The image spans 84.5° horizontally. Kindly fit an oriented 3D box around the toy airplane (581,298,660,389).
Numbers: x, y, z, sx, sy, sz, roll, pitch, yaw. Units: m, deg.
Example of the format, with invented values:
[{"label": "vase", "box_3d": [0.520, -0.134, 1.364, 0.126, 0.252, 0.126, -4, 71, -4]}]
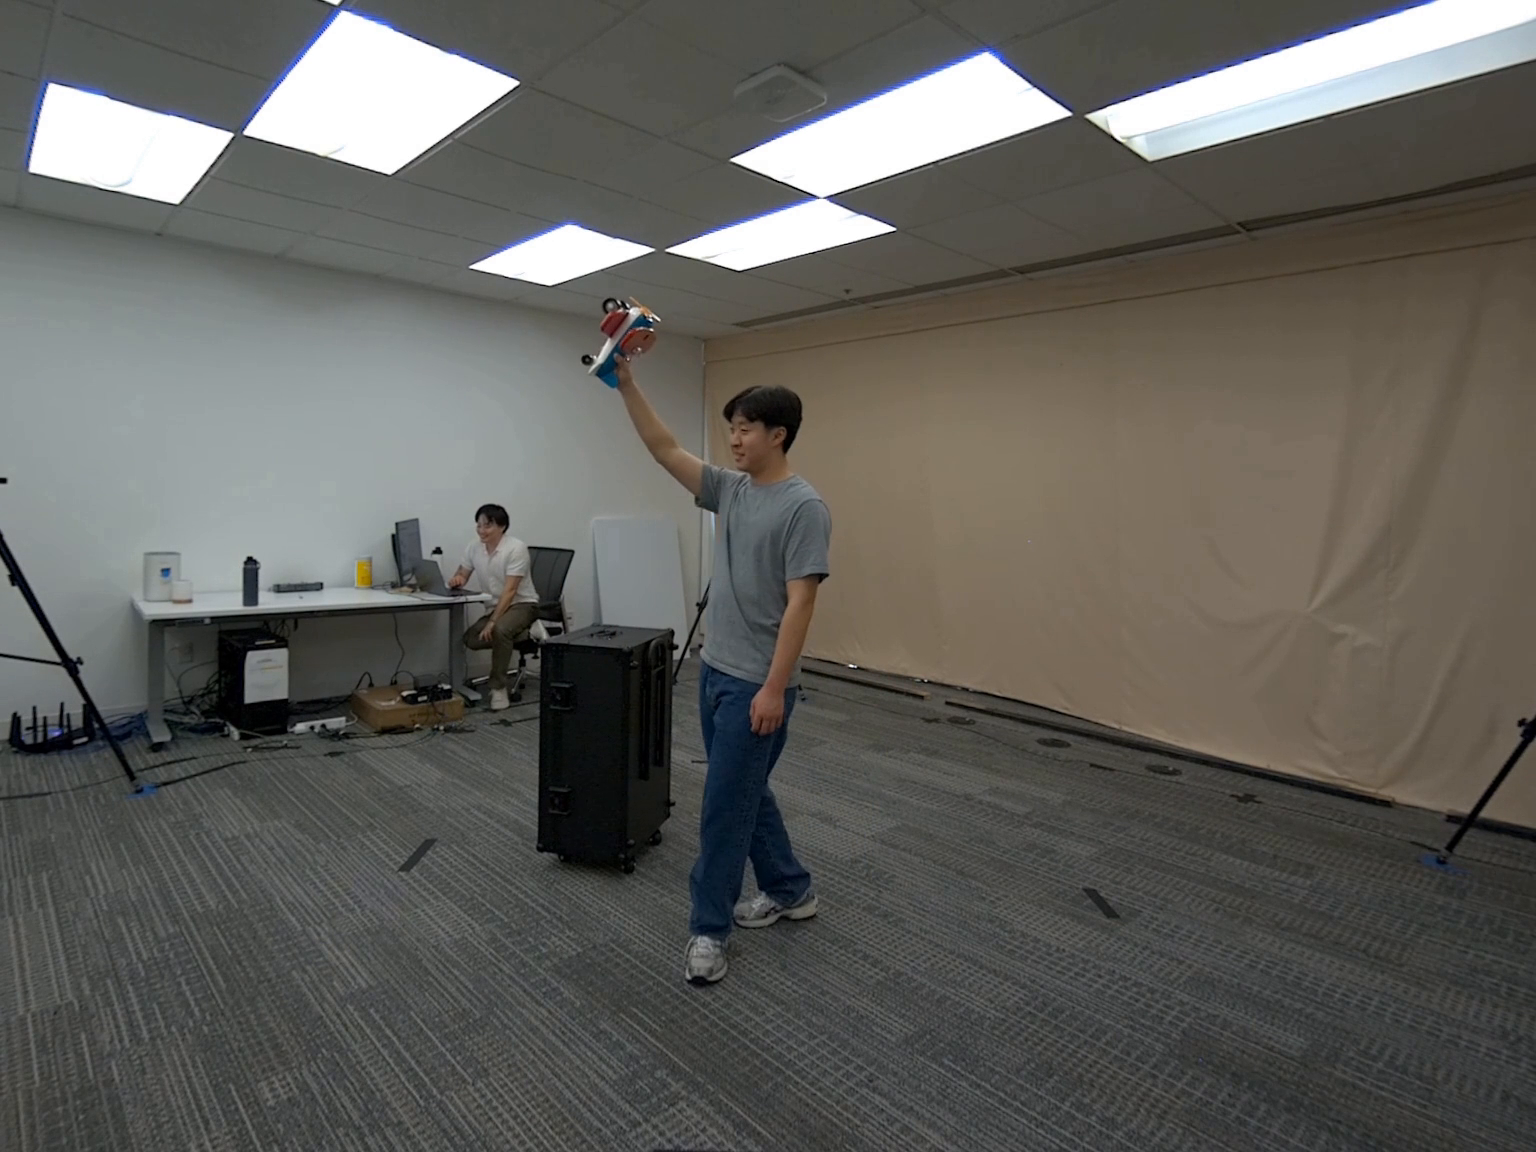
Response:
[{"label": "toy airplane", "box_3d": [-0.450, -0.718, 2.557, 0.157, 0.257, 0.252, 29, 40, 2]}]
